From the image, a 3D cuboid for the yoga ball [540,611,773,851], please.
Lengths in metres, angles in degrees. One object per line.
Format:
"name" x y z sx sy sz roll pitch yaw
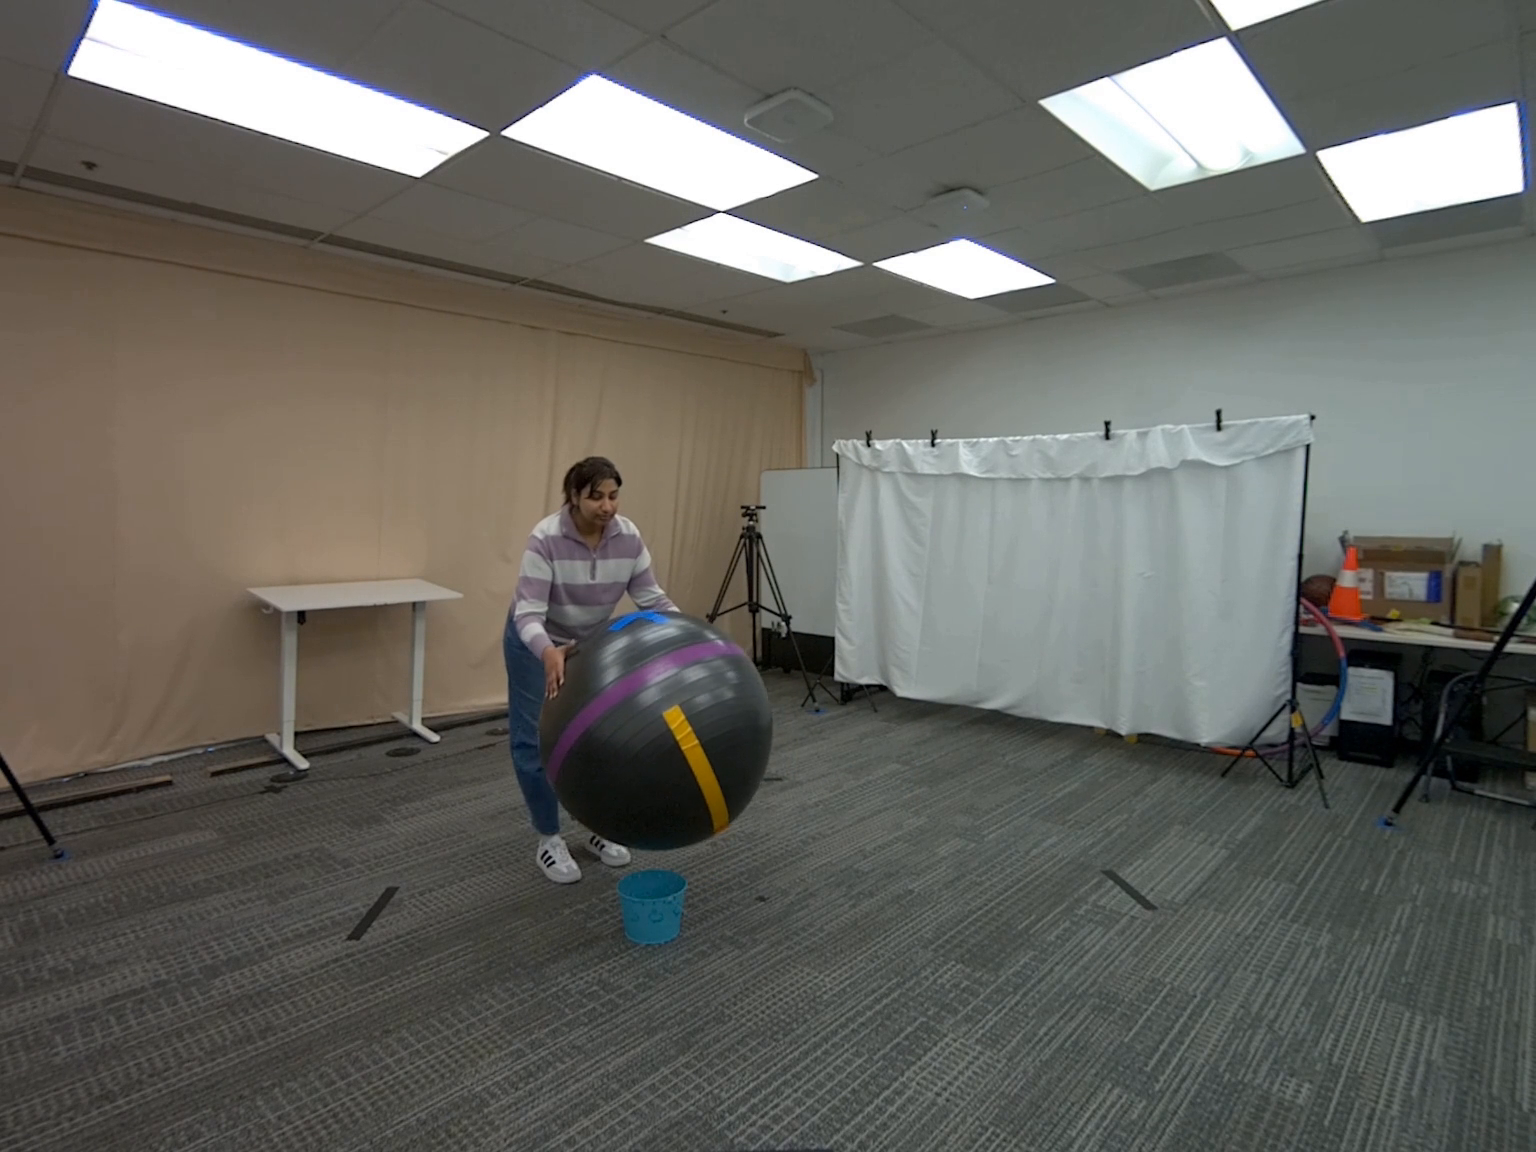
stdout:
"yoga ball" -0.366 0.497 2.734 0.757 0.756 0.760 0 4 -2
